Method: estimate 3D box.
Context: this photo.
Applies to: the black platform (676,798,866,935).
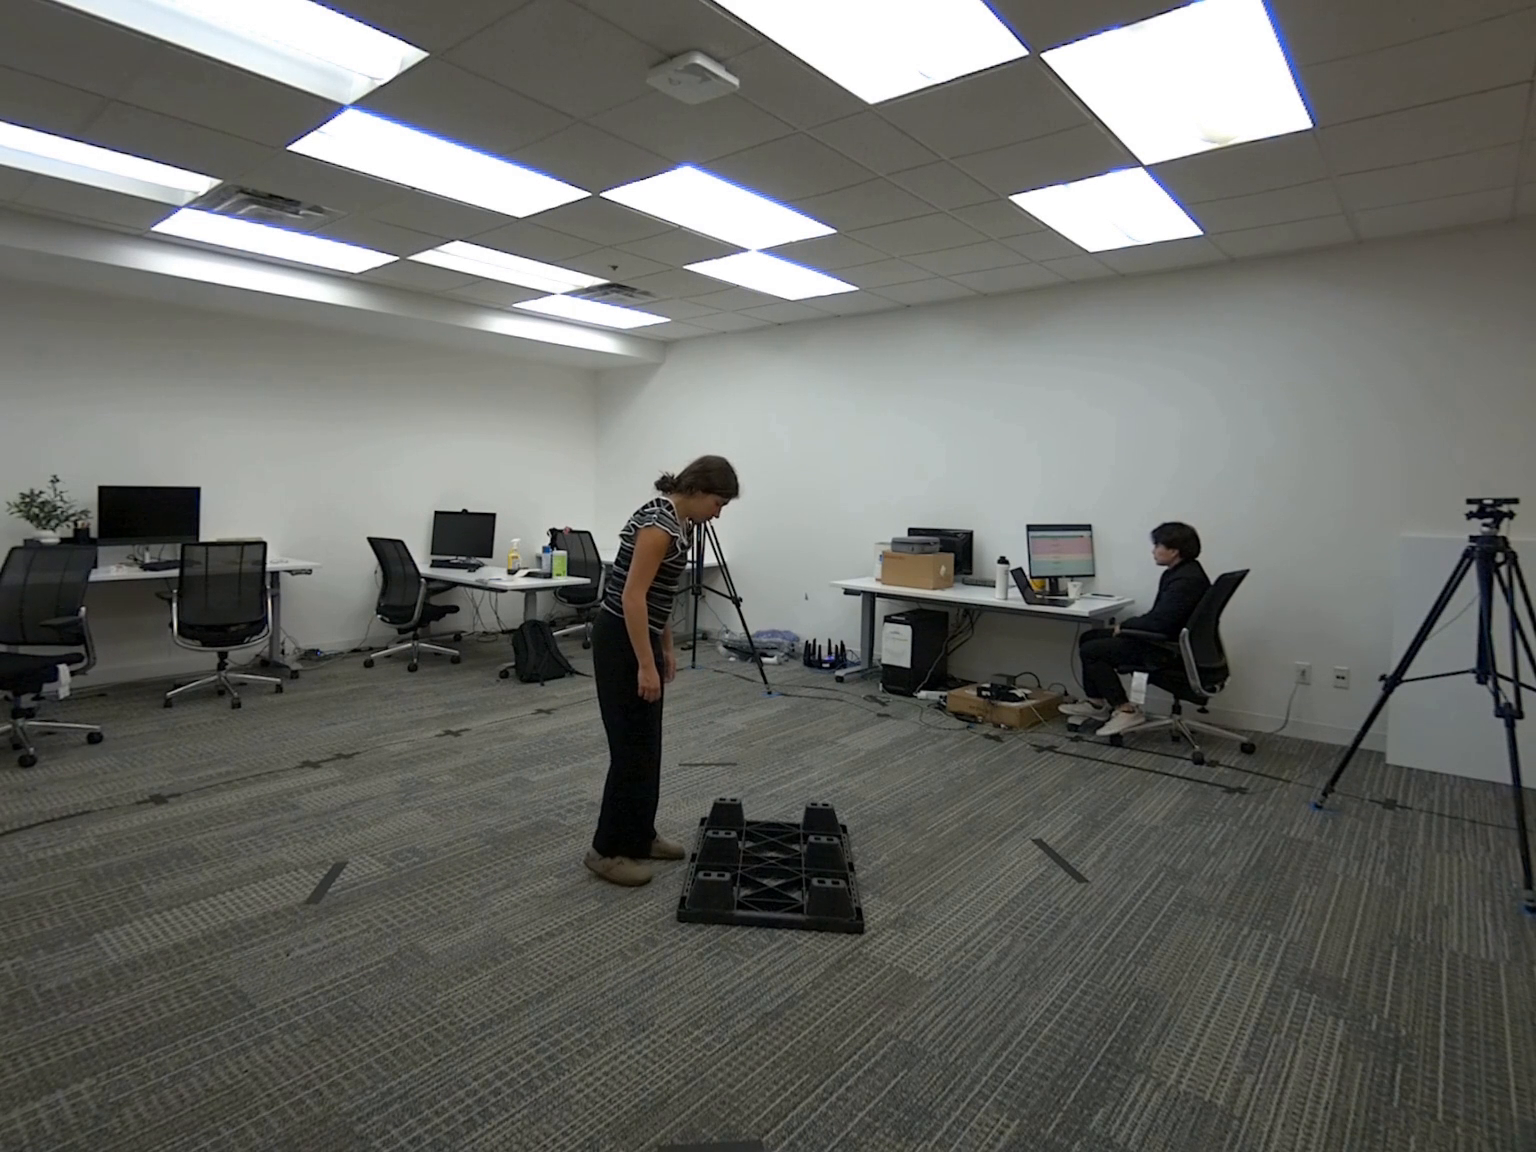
[{"bbox_3d":[0.009,1.006,3.078,0.607,0.143,0.806,1,5,2],"label":"black platform"}]
